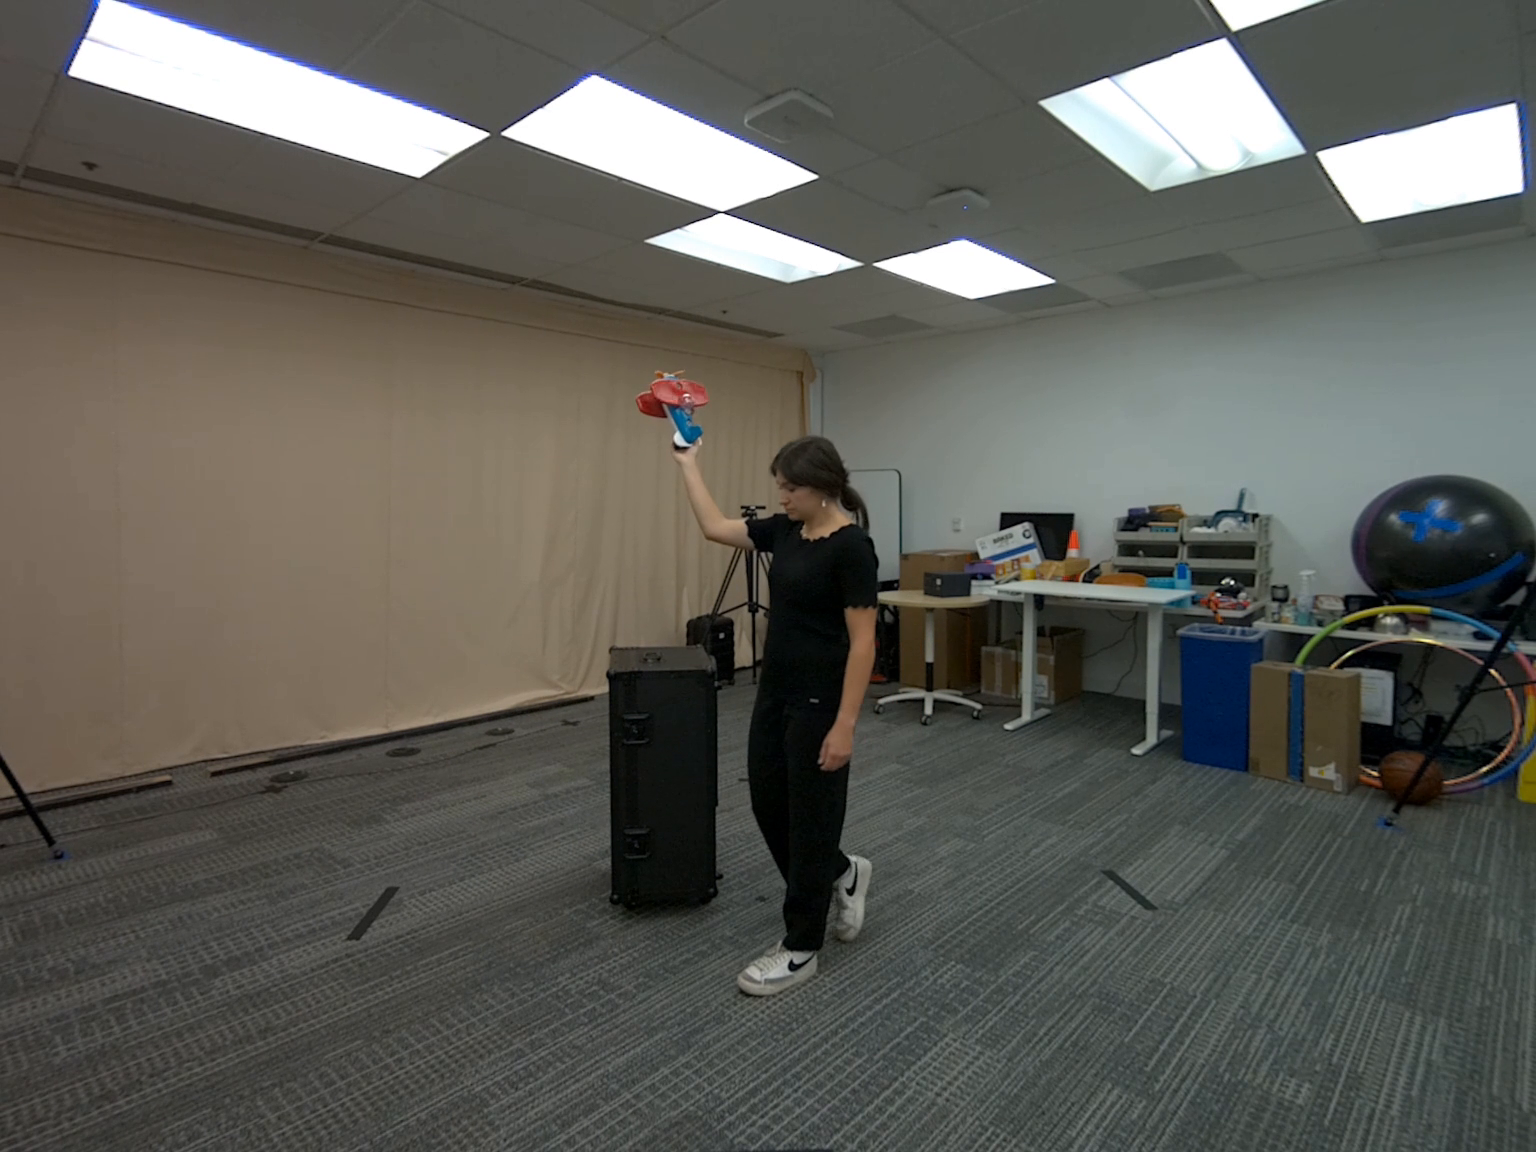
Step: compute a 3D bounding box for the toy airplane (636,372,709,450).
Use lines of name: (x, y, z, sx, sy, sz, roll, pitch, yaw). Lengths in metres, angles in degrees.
toy airplane: (-0.292, -0.545, 2.799, 0.157, 0.258, 0.250, -48, 4, 36)
